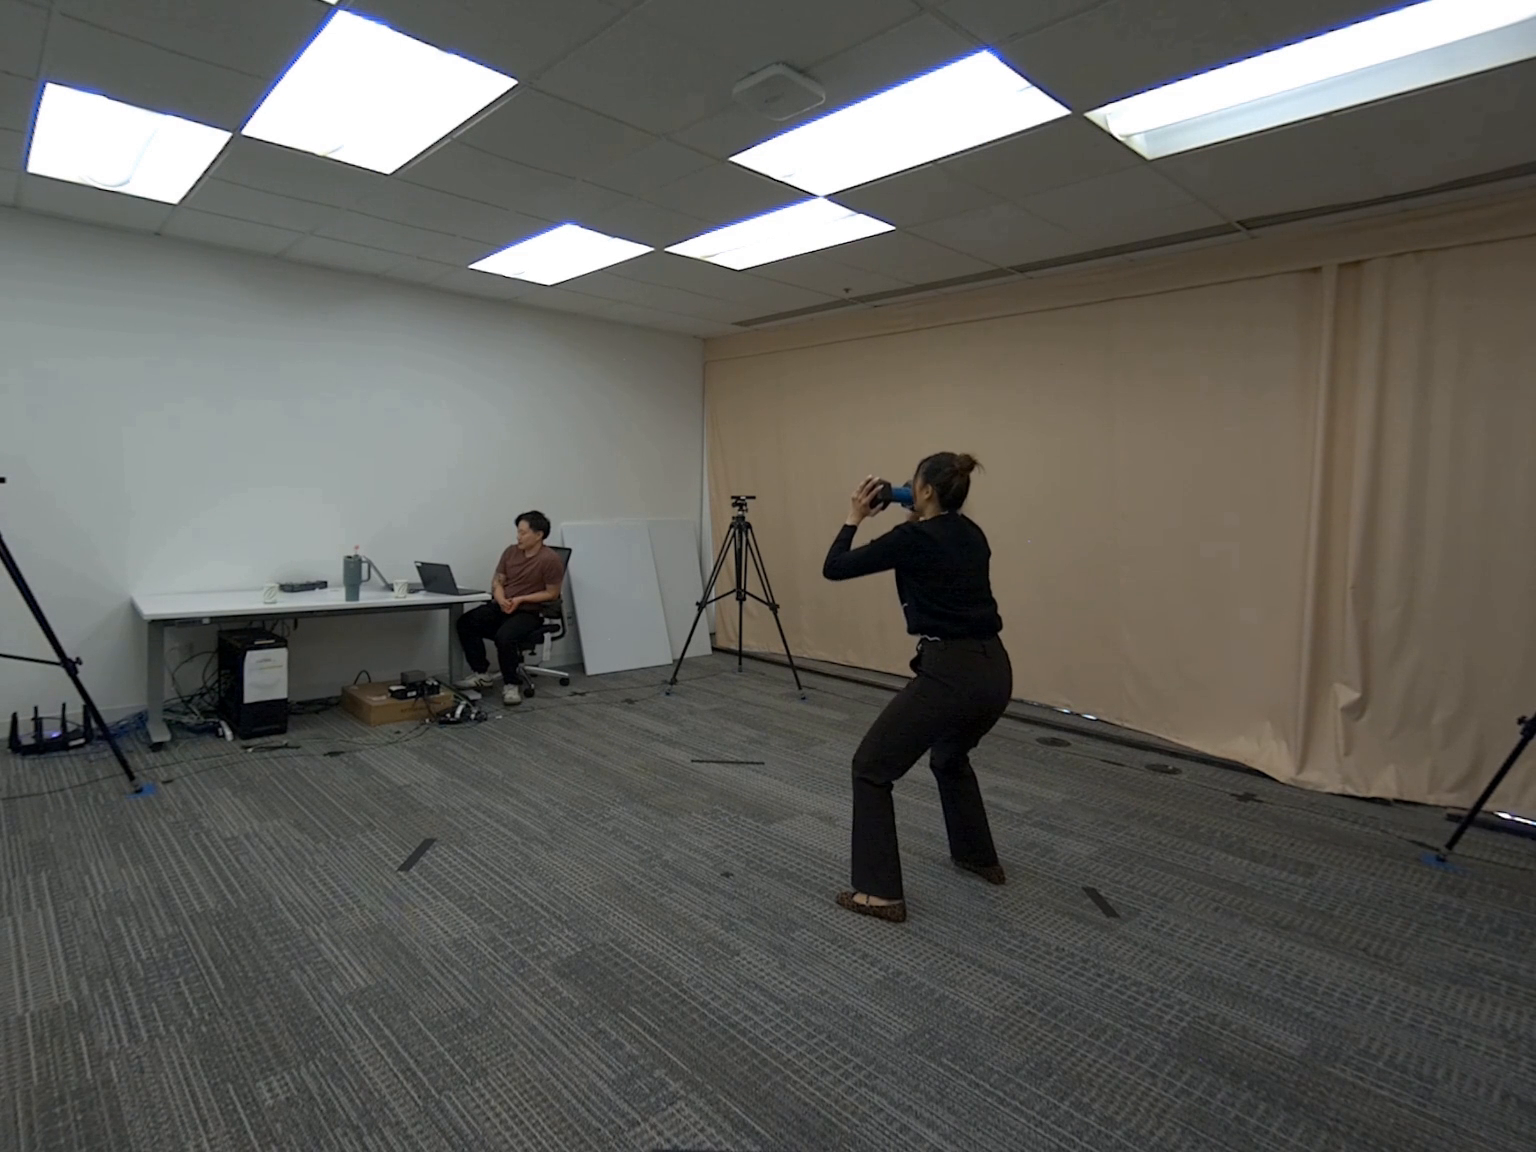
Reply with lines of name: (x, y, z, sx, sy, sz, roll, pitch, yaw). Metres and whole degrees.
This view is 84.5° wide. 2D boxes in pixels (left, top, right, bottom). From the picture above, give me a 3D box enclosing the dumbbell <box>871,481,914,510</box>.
dumbbell: (0.481, -0.298, 3.130, 0.287, 0.111, 0.122, -3, -35, -36)
